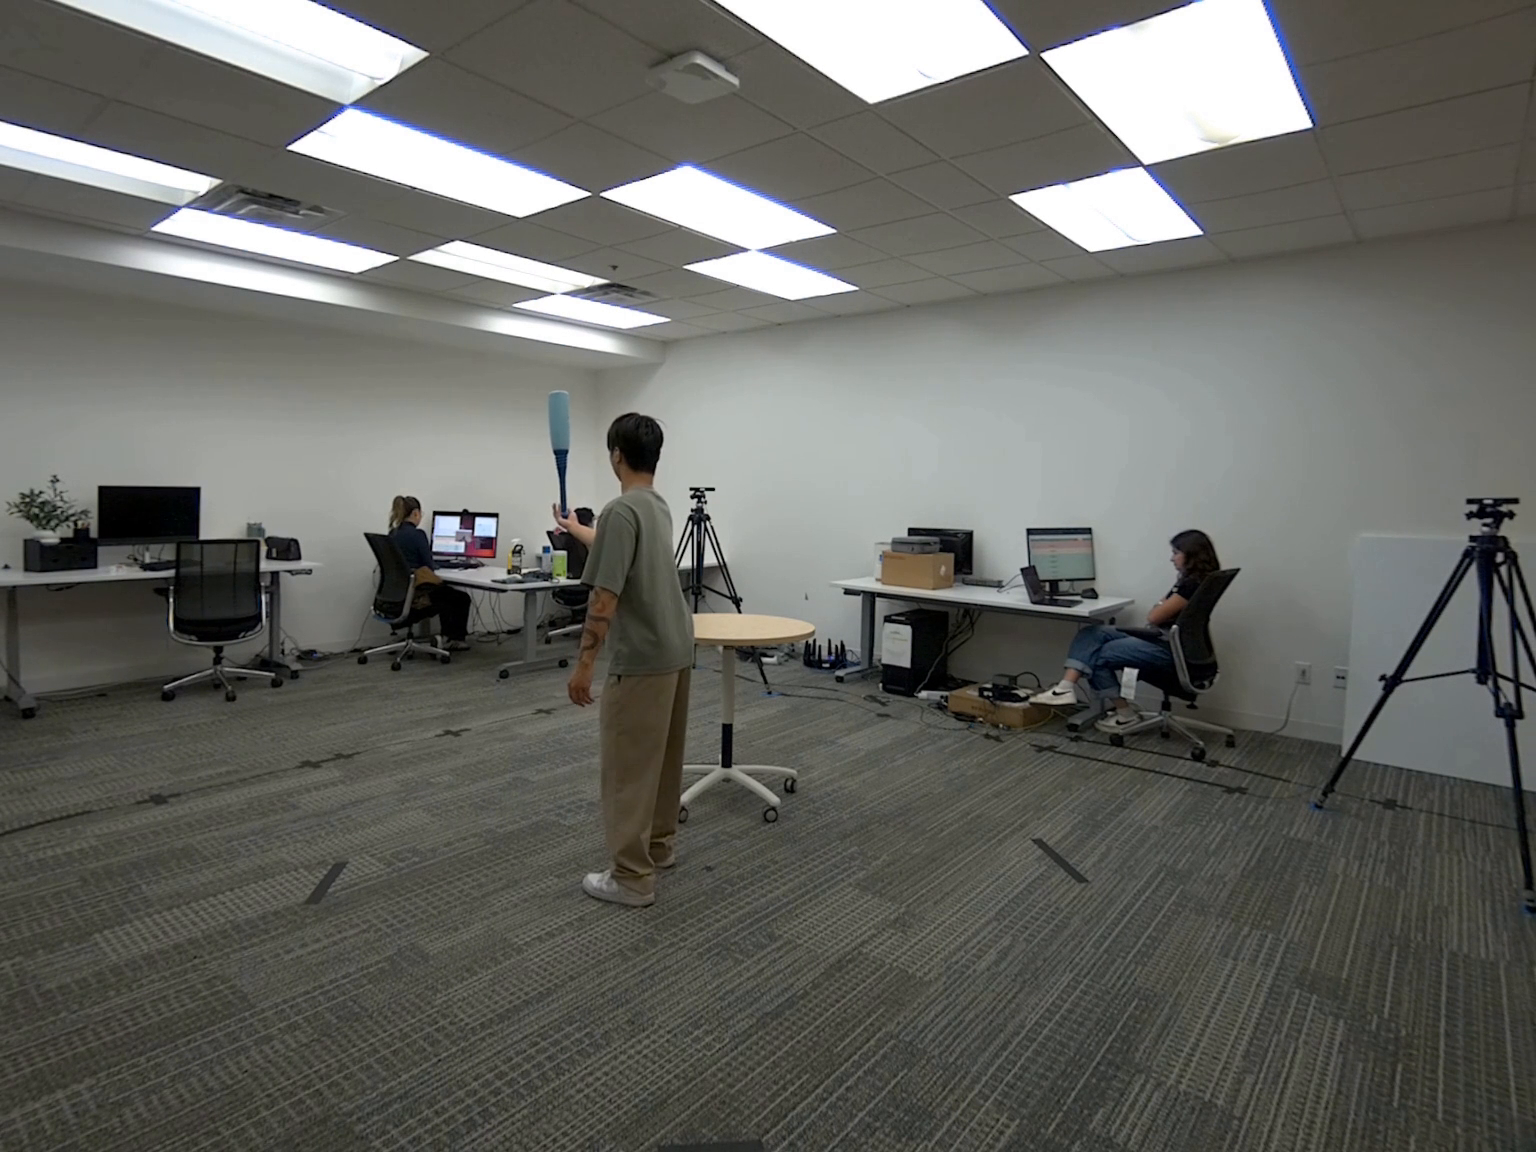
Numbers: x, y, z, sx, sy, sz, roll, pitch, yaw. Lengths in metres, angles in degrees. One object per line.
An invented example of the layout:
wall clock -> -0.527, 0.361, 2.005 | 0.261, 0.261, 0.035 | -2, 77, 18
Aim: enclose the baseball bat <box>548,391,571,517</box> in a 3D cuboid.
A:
baseball bat -> -0.898, -0.523, 3.620 | 0.089, 0.544, 0.089 | -4, -1, -2
